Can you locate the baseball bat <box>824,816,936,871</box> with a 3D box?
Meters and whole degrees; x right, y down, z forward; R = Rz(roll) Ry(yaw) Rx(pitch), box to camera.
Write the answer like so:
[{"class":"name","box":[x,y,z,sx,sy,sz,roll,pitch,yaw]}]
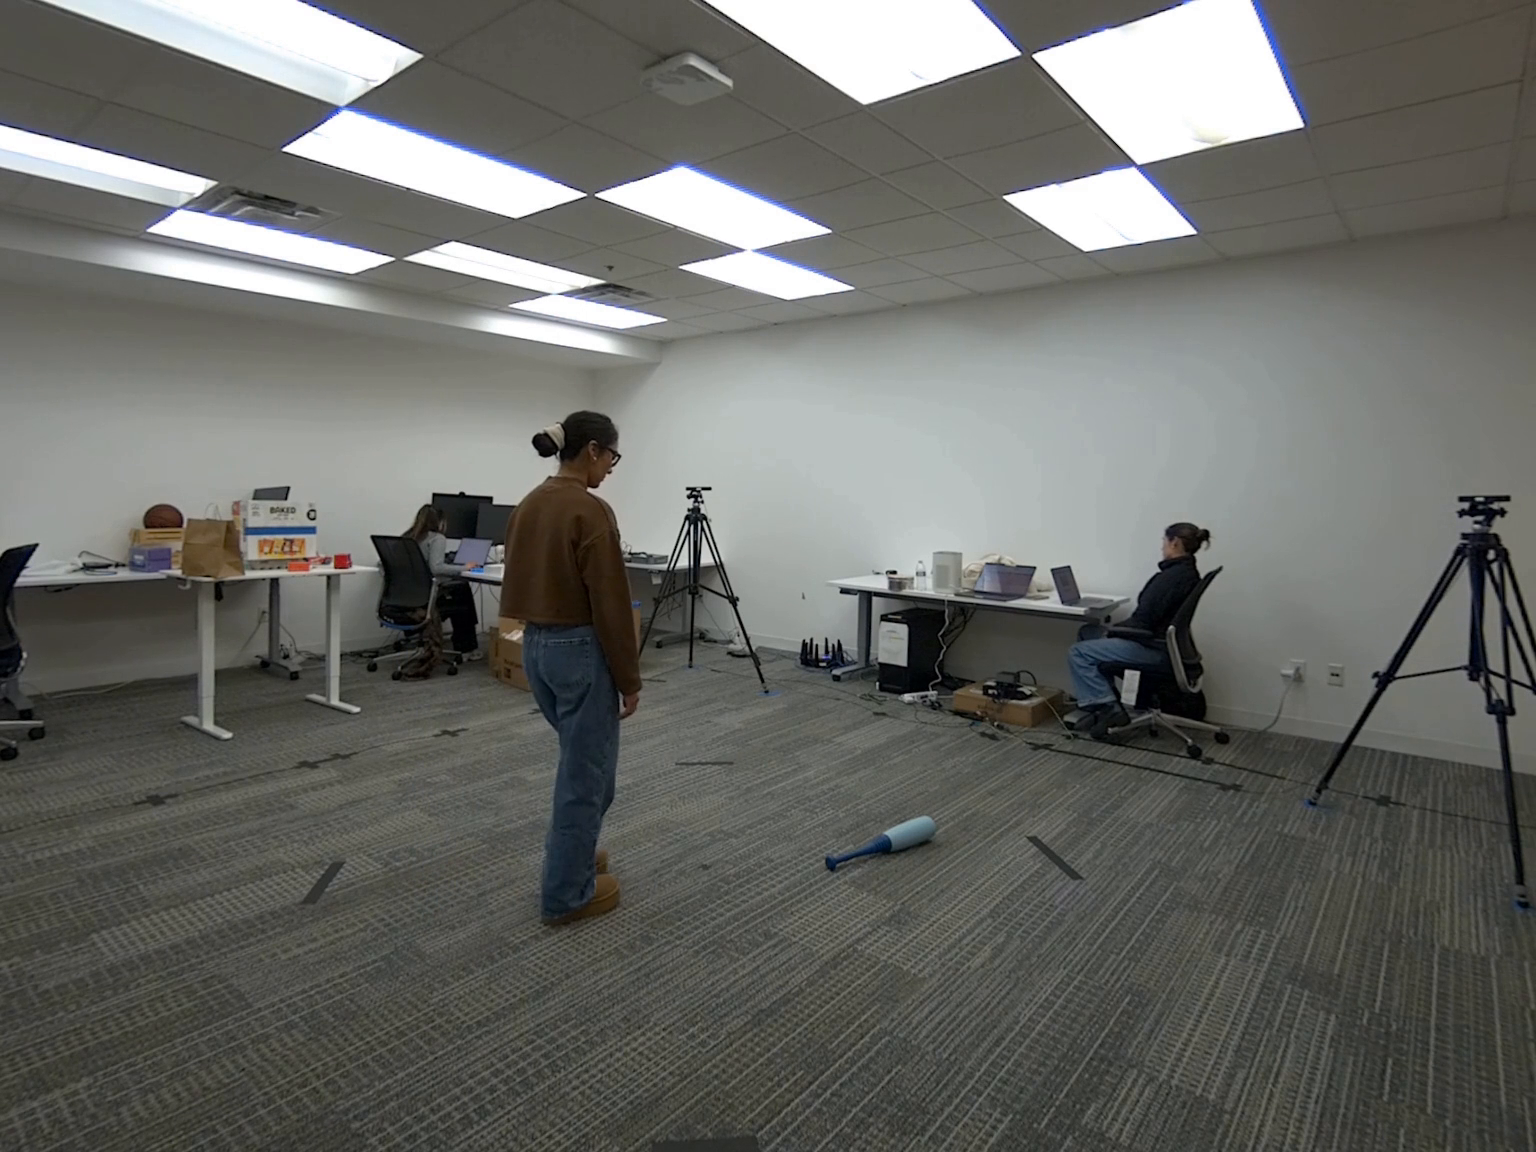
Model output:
[{"class":"baseball bat","box":[0.431,1.030,3.264,0.529,0.088,0.092,-8,8,-34]}]
